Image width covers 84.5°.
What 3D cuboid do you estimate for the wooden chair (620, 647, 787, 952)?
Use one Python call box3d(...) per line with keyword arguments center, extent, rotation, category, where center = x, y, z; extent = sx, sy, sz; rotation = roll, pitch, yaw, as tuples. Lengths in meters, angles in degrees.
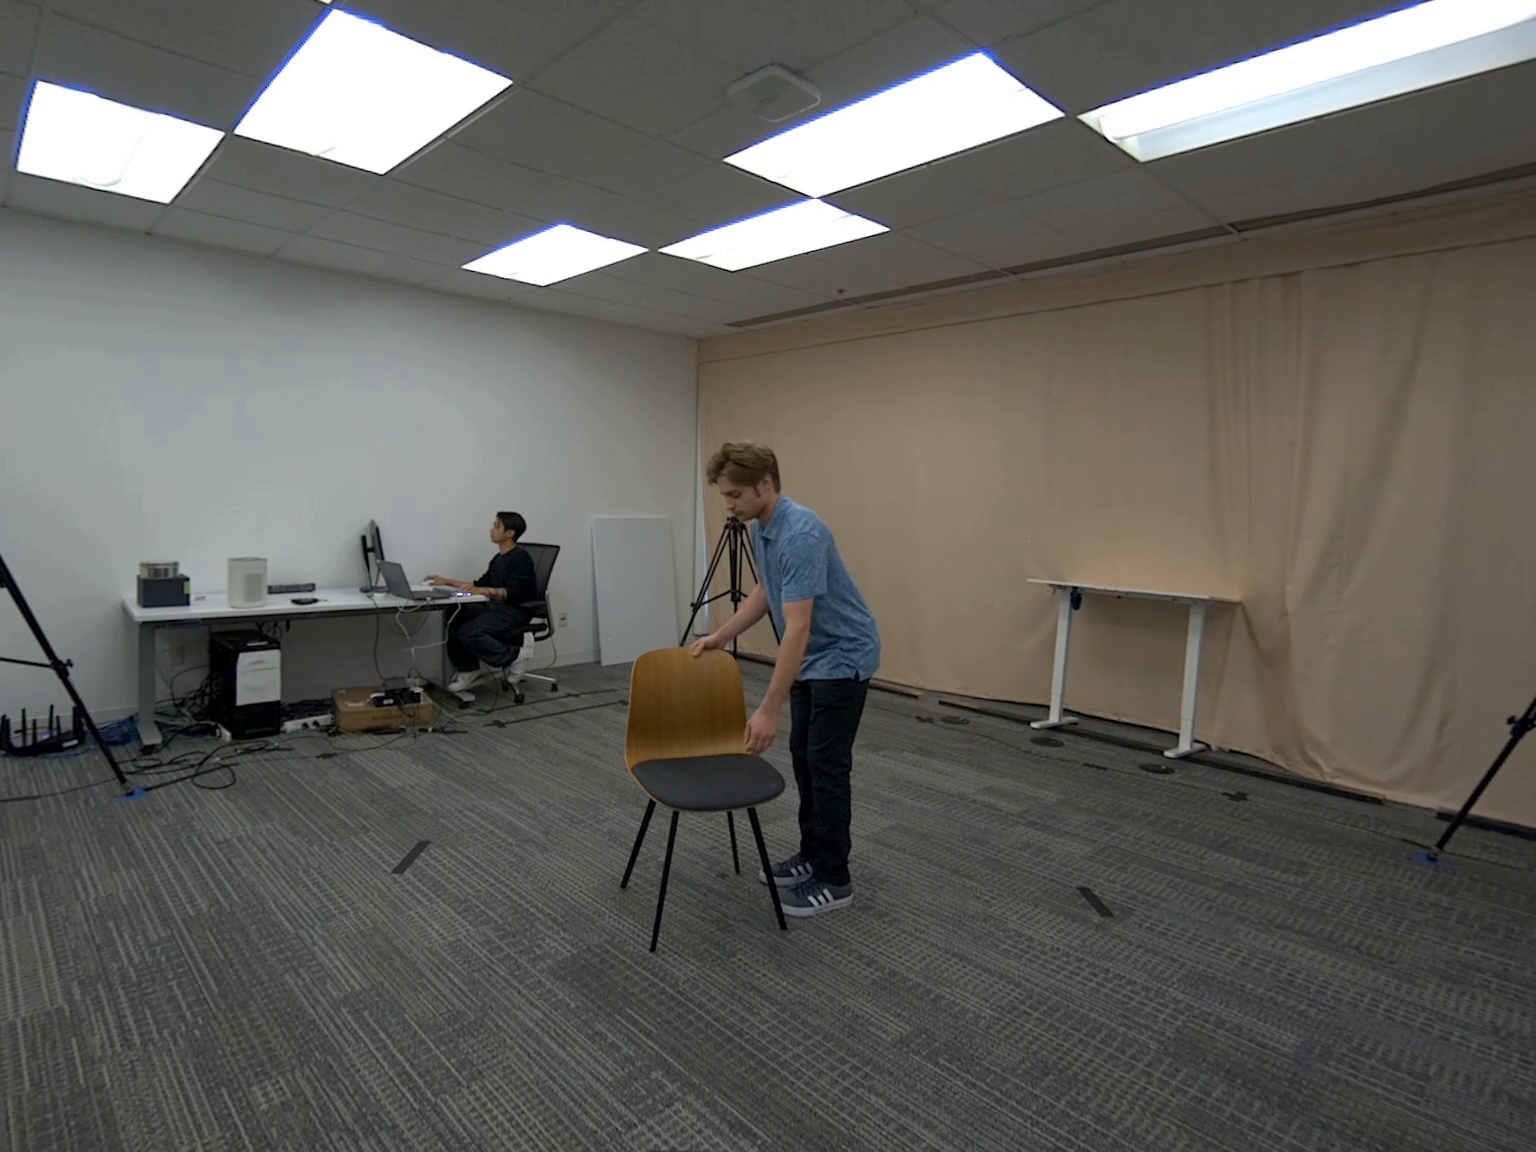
box3d(center=(-0.225, 0.703, 2.813), extent=(0.471, 0.878, 0.531), rotation=(0, -1, -21), category="wooden chair")
